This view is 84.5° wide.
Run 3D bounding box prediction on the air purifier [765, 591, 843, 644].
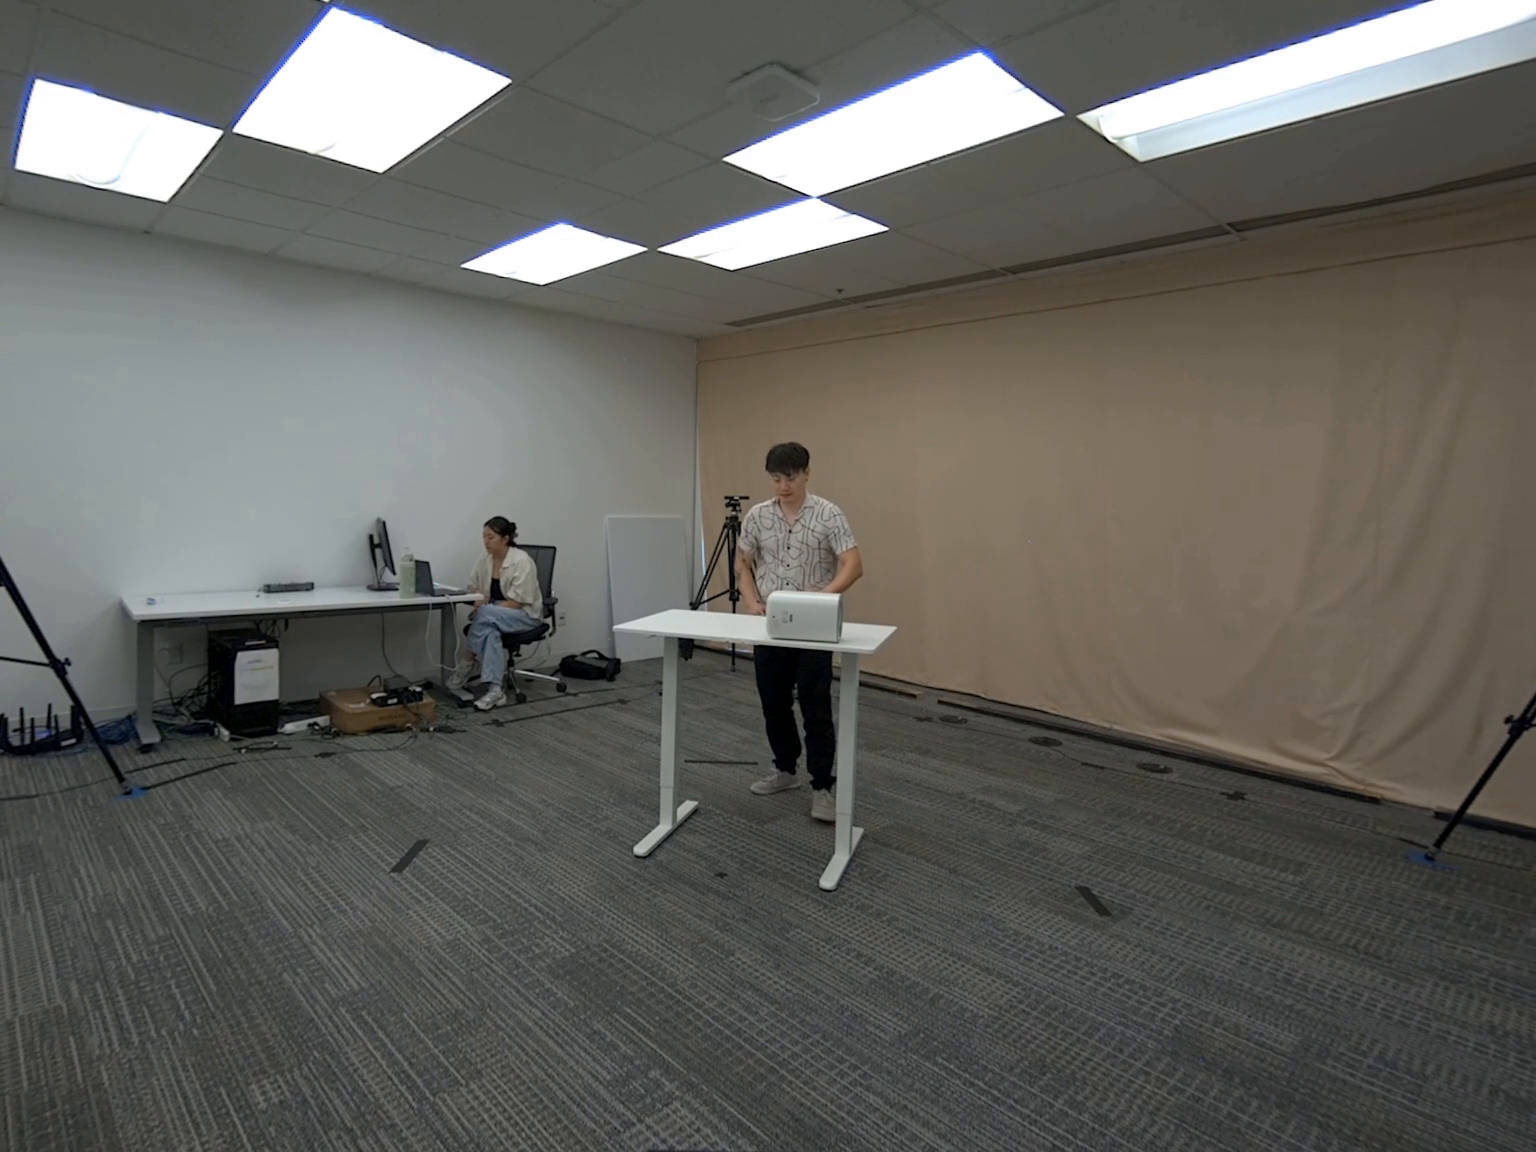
[{"bbox_3d":[0.122,0.145,3.078,0.268,0.170,0.170,3,6,13],"label":"air purifier"}]
